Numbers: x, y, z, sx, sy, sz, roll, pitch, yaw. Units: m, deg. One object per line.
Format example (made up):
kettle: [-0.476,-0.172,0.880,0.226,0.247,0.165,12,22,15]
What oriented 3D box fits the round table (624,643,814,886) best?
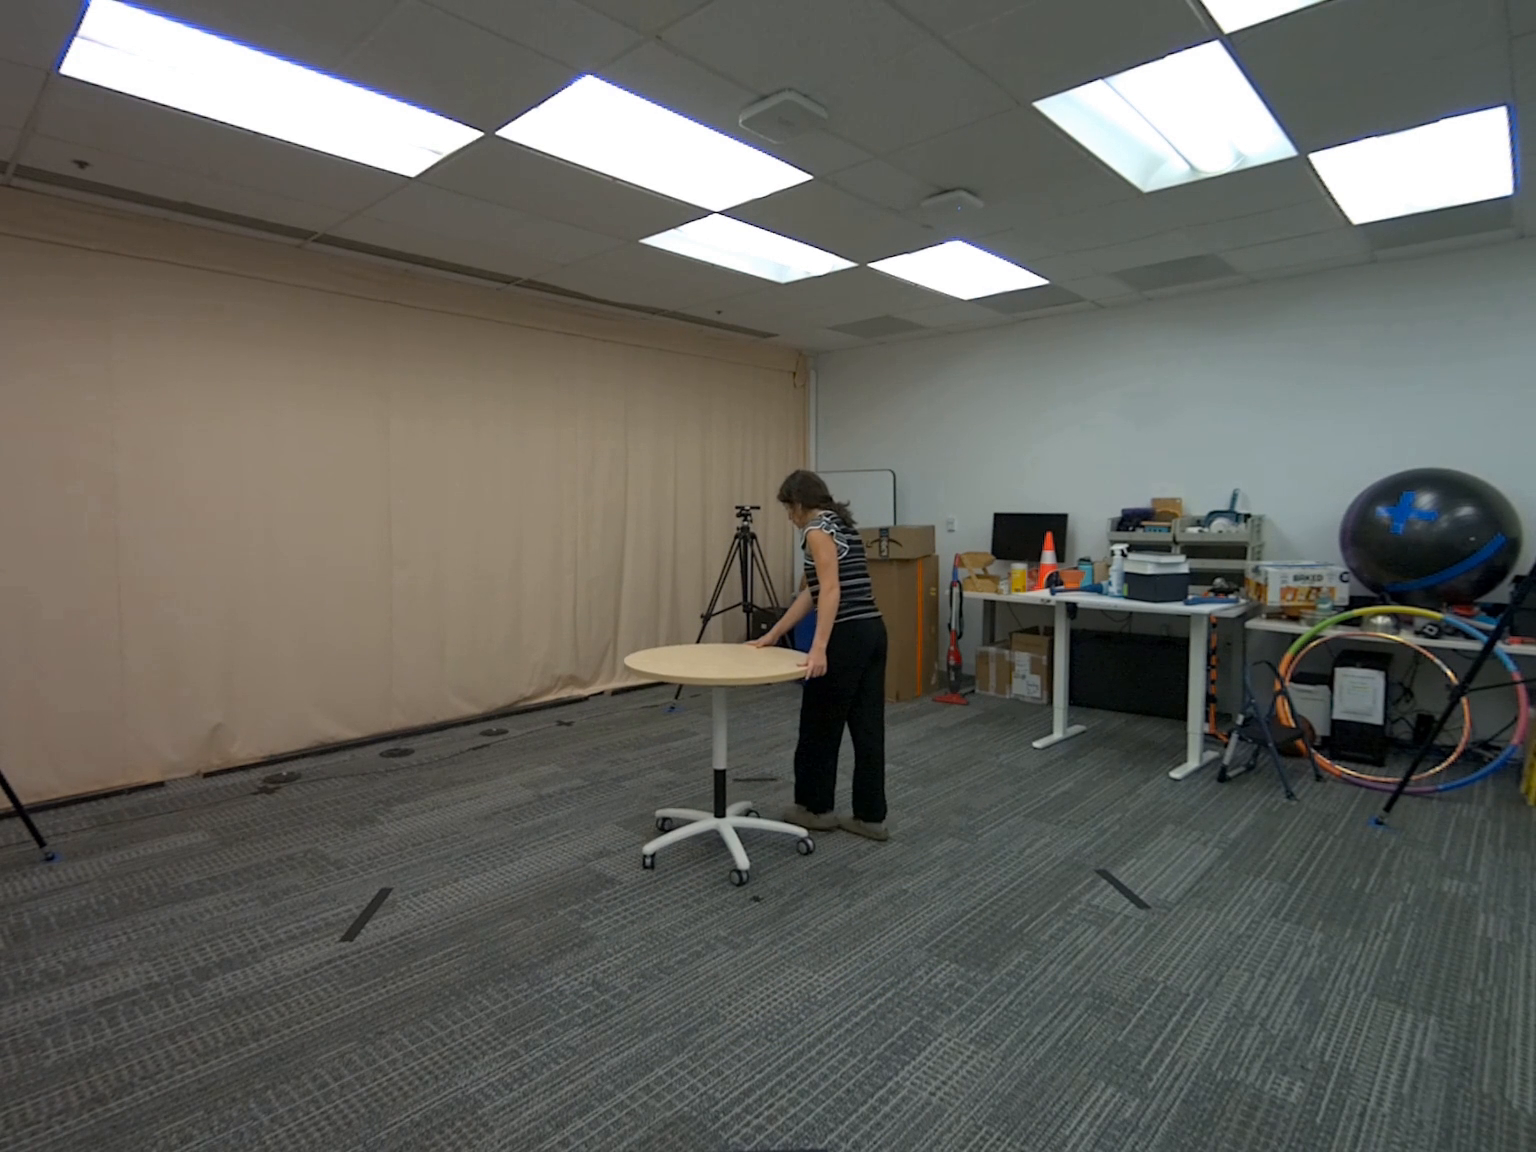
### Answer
round table: [-0.193,0.723,3.384,0.763,0.792,0.766,0,3,-2]
